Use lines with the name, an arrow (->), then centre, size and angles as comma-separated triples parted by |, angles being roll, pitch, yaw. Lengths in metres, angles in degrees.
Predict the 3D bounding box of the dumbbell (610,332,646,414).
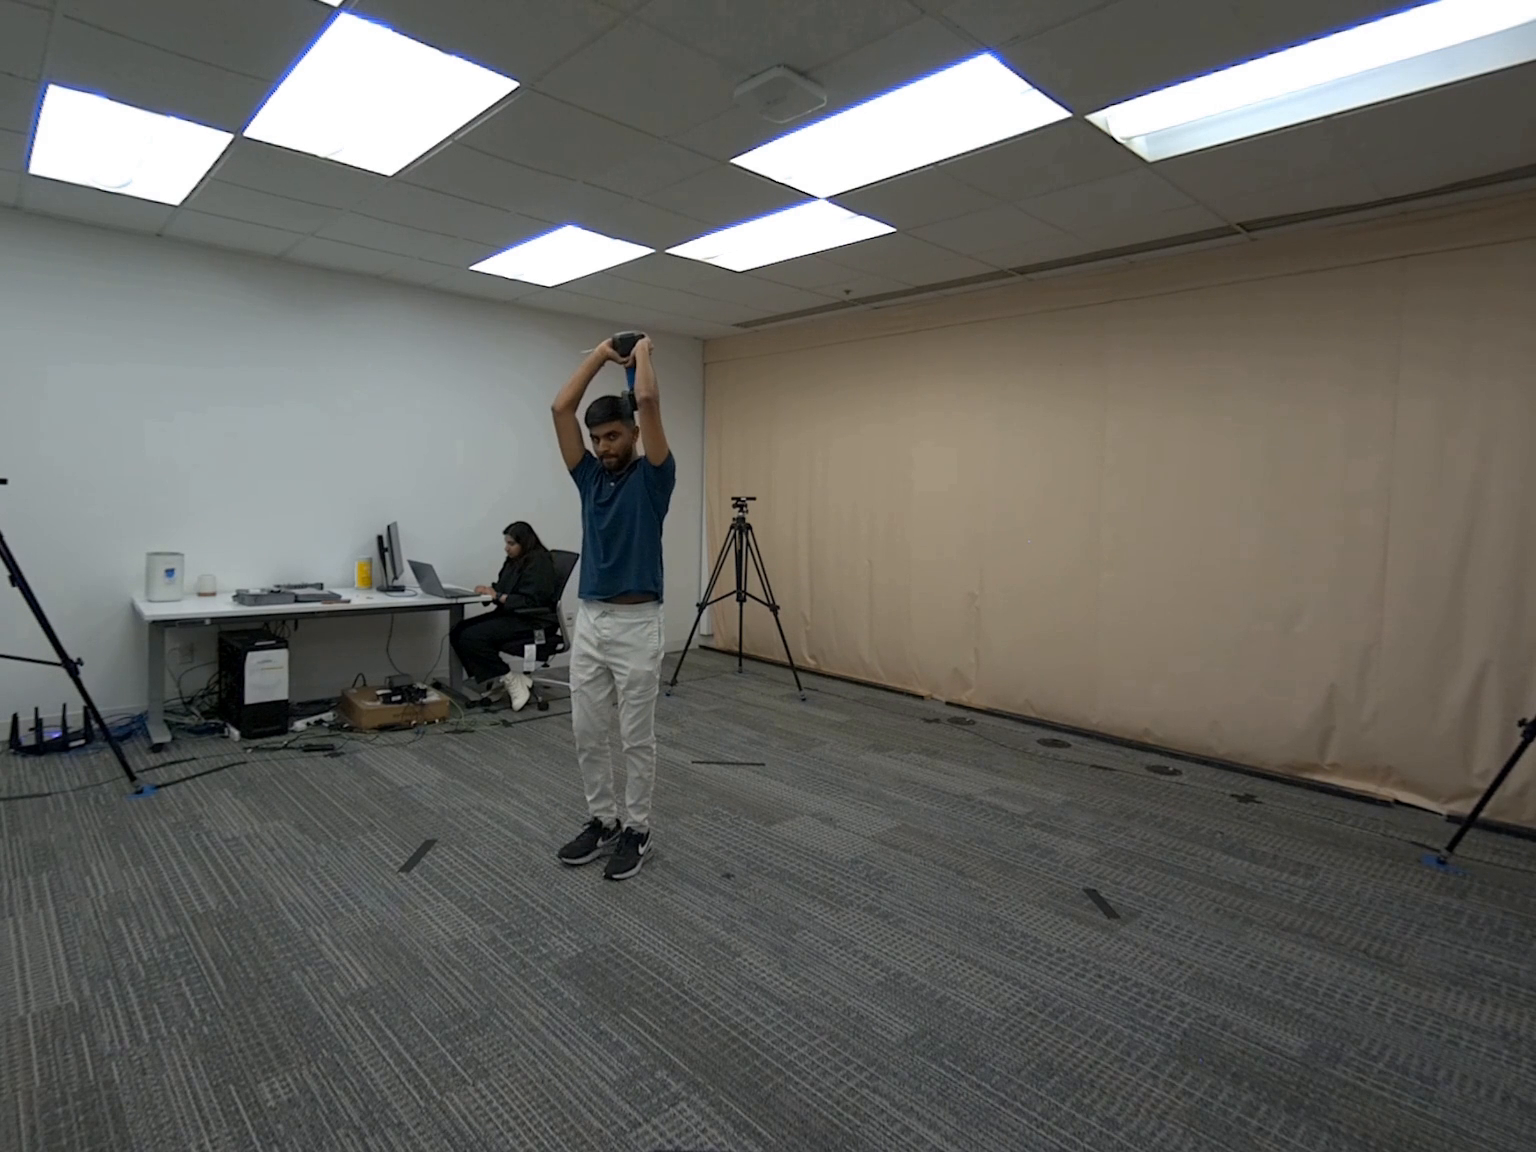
dumbbell -> -0.534, -0.782, 3.232 | 0.111, 0.288, 0.123 | 1, 25, 28
